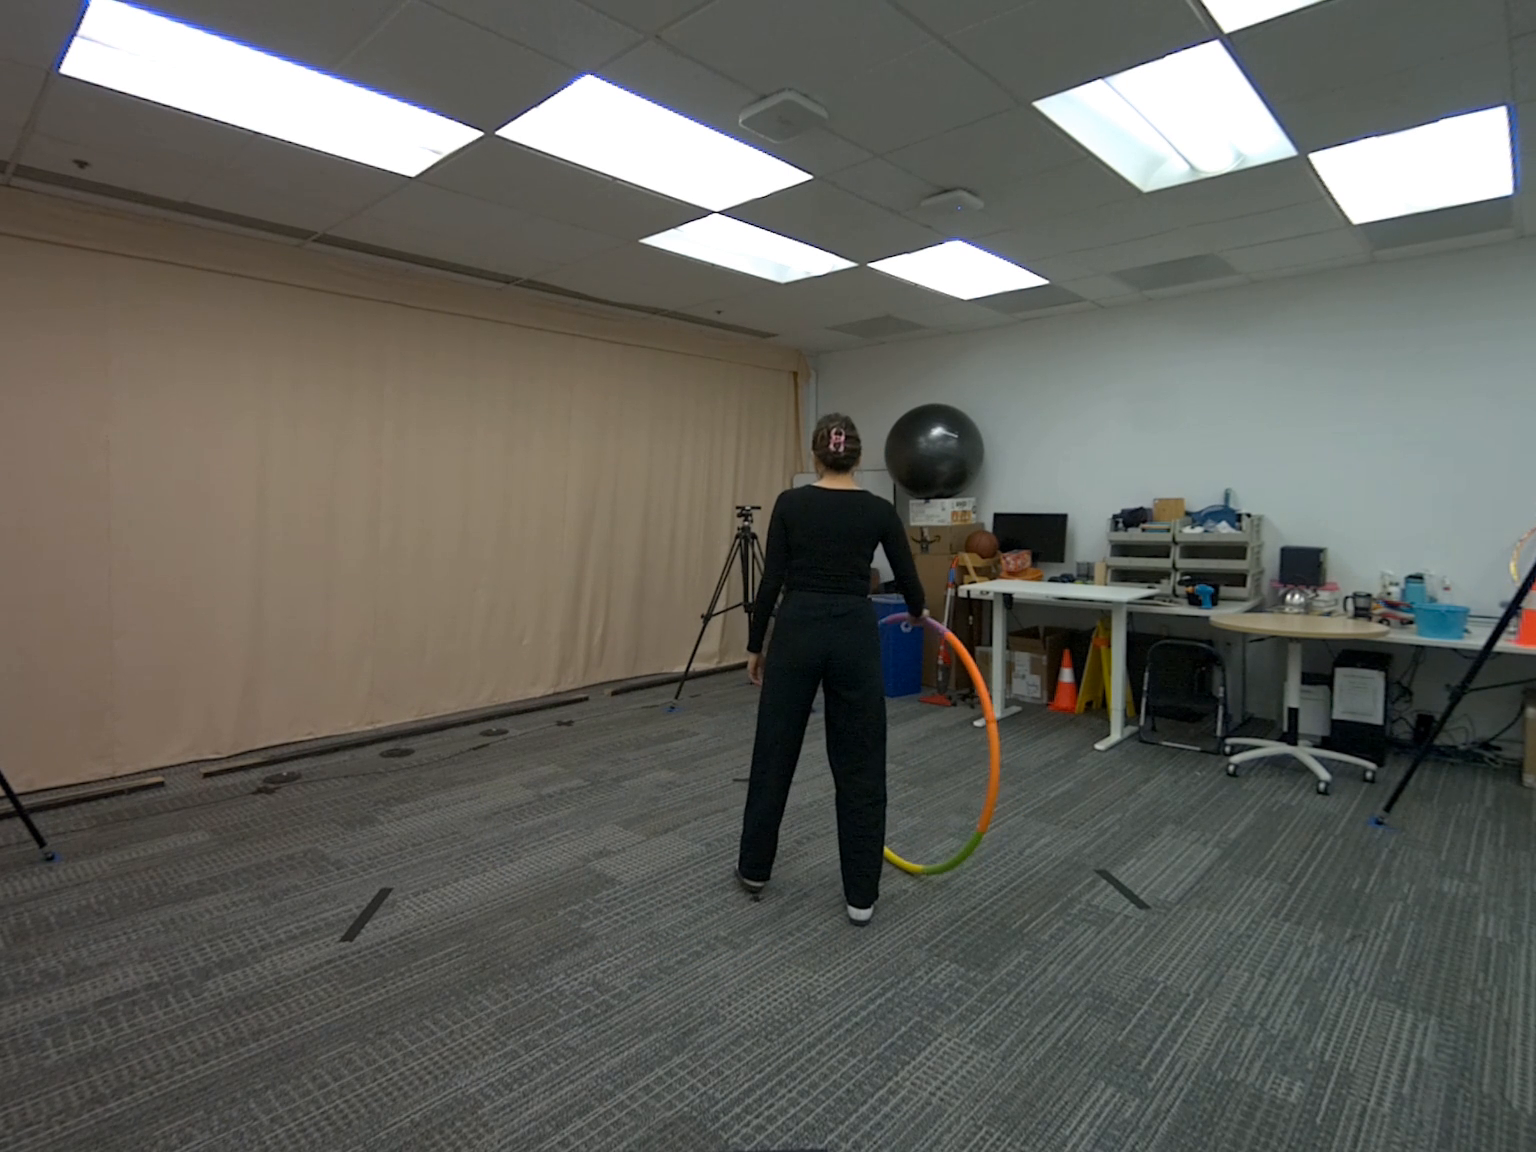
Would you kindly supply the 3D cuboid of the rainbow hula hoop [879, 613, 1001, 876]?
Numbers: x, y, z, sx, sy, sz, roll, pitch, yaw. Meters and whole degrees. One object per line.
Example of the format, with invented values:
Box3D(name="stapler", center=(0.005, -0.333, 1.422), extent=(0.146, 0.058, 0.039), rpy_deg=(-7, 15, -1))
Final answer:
Box3D(name="rainbow hula hoop", center=(0.526, 0.634, 3.258), extent=(0.034, 0.978, 1.005), rpy_deg=(4, 2, -27))
